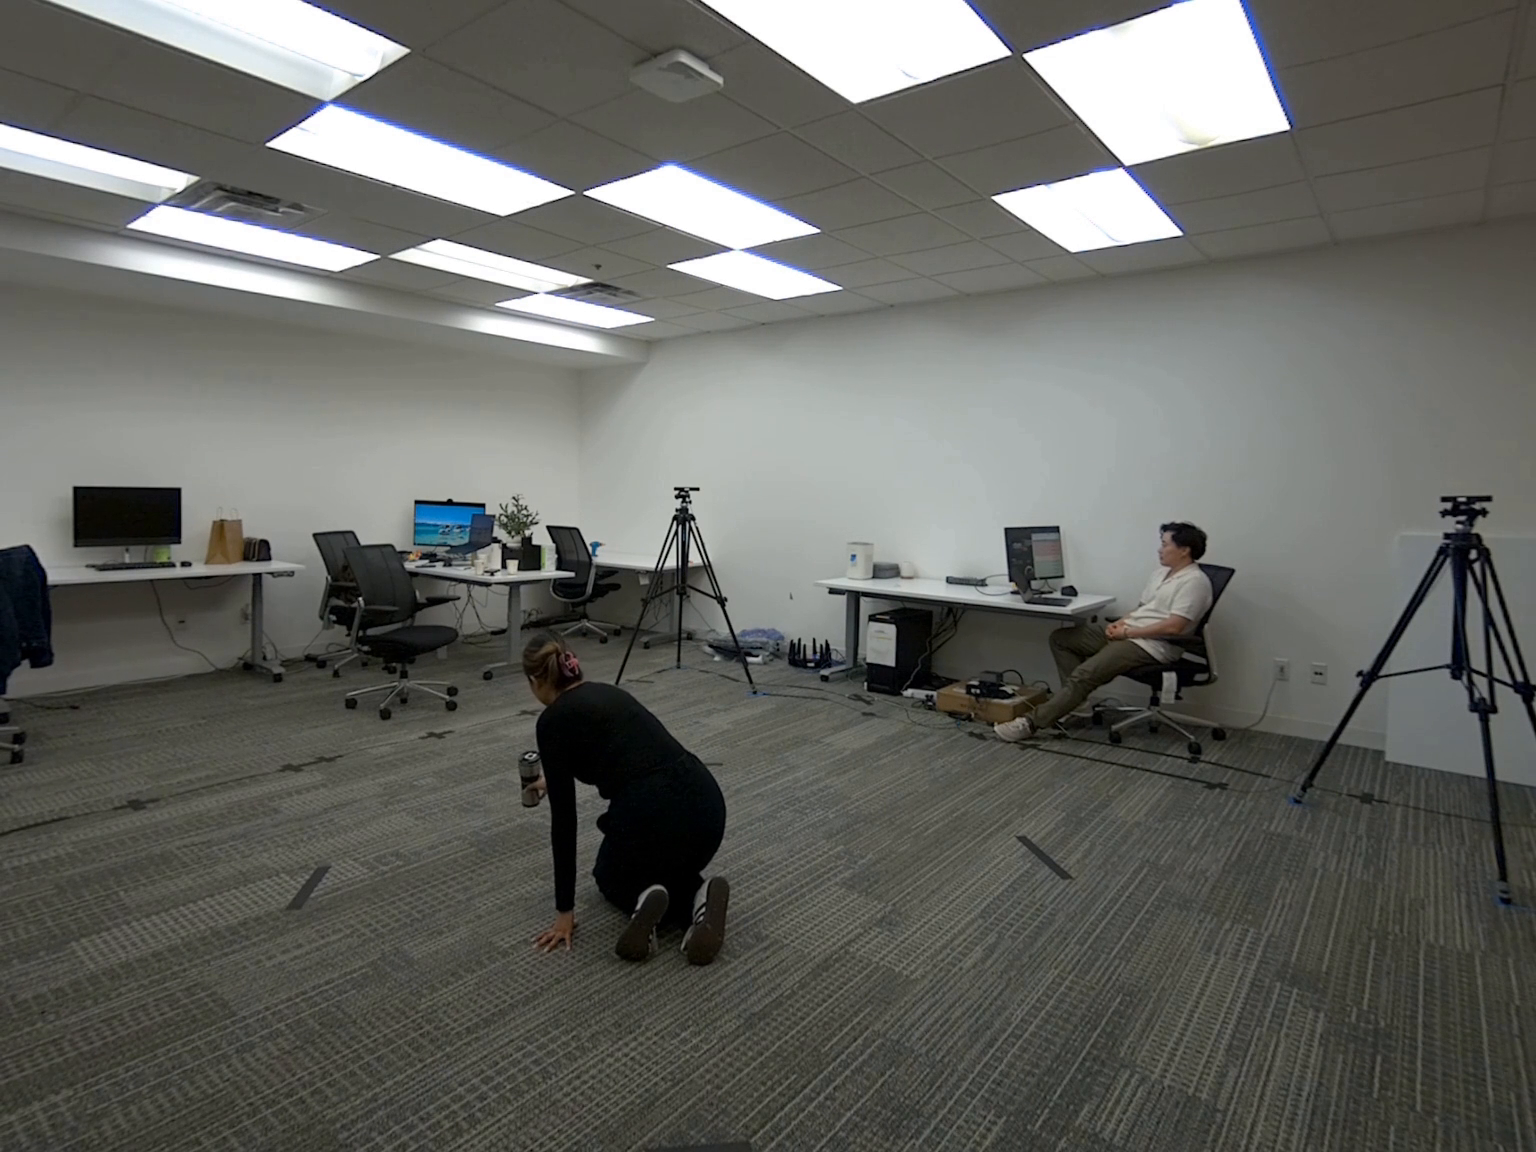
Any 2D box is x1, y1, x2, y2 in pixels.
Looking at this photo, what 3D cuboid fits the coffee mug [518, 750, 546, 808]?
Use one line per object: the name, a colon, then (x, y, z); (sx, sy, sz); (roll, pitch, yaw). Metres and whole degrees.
coffee mug: (-0.956, 0.806, 3.379); (0.088, 0.200, 0.123); (-1, 13, 2)
